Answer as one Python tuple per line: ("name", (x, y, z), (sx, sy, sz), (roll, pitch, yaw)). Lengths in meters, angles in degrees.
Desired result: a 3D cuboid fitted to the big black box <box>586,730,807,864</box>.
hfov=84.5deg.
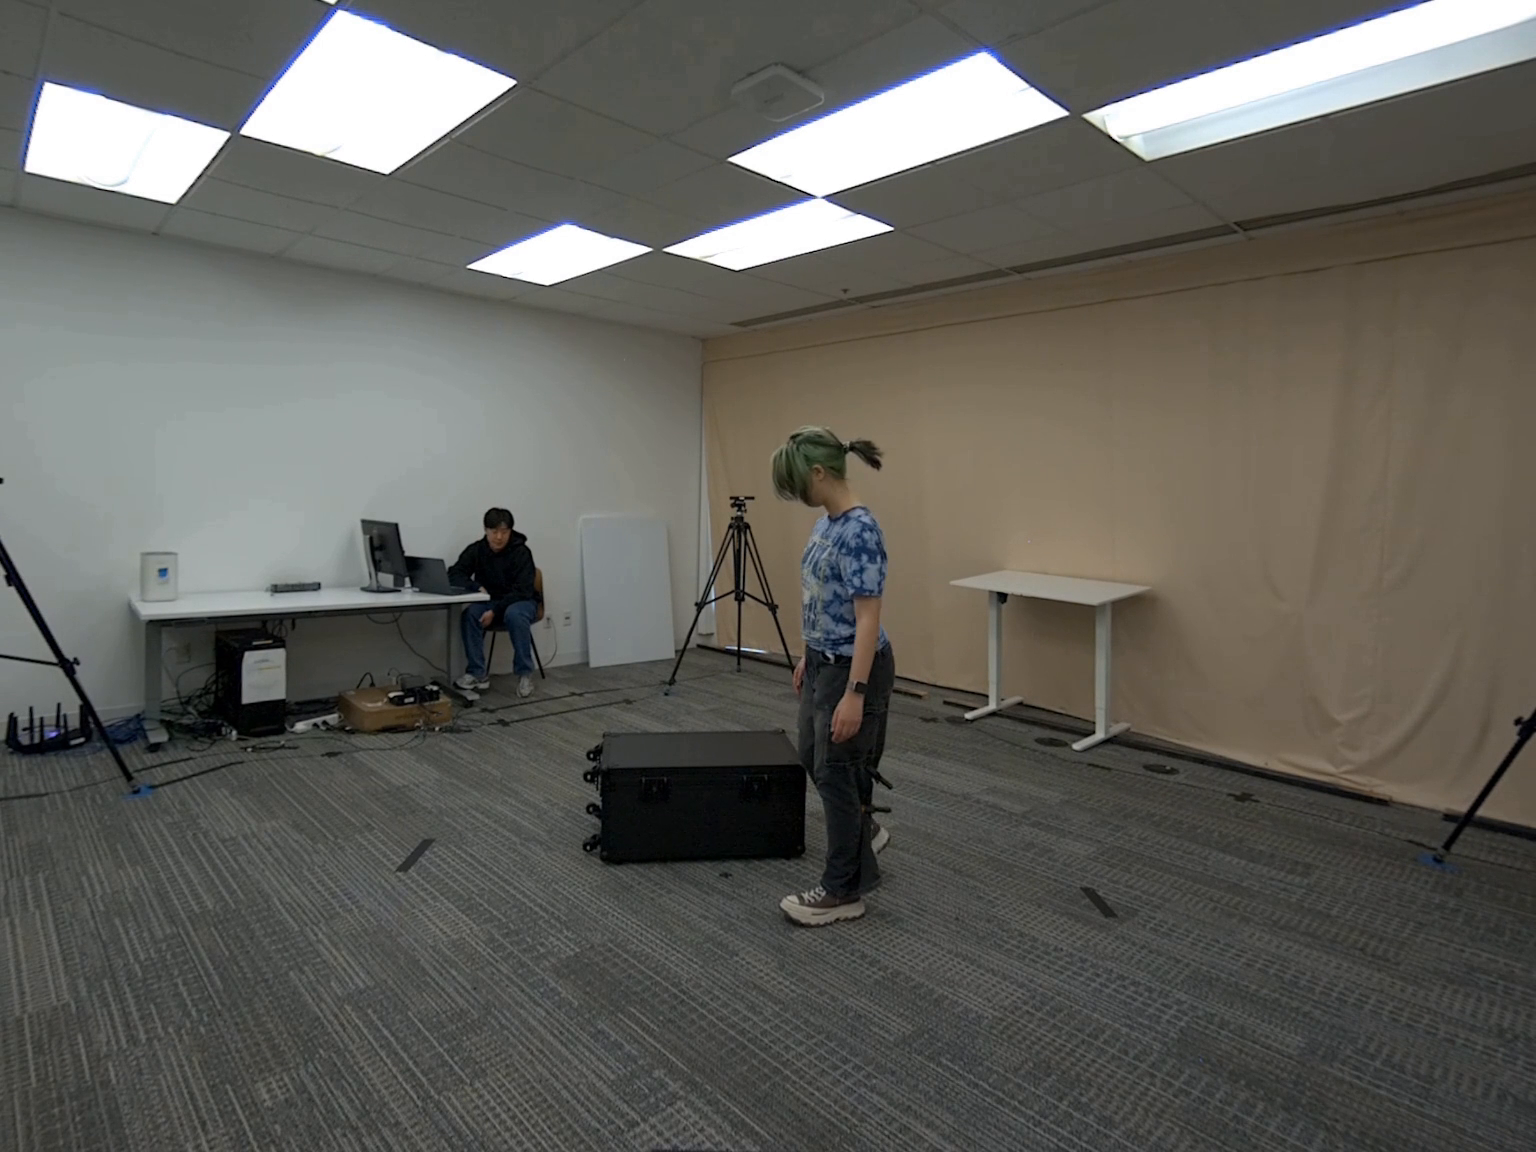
("big black box", (-0.256, 0.880, 3.429), (0.856, 0.395, 0.526), (0, 5, -8))
